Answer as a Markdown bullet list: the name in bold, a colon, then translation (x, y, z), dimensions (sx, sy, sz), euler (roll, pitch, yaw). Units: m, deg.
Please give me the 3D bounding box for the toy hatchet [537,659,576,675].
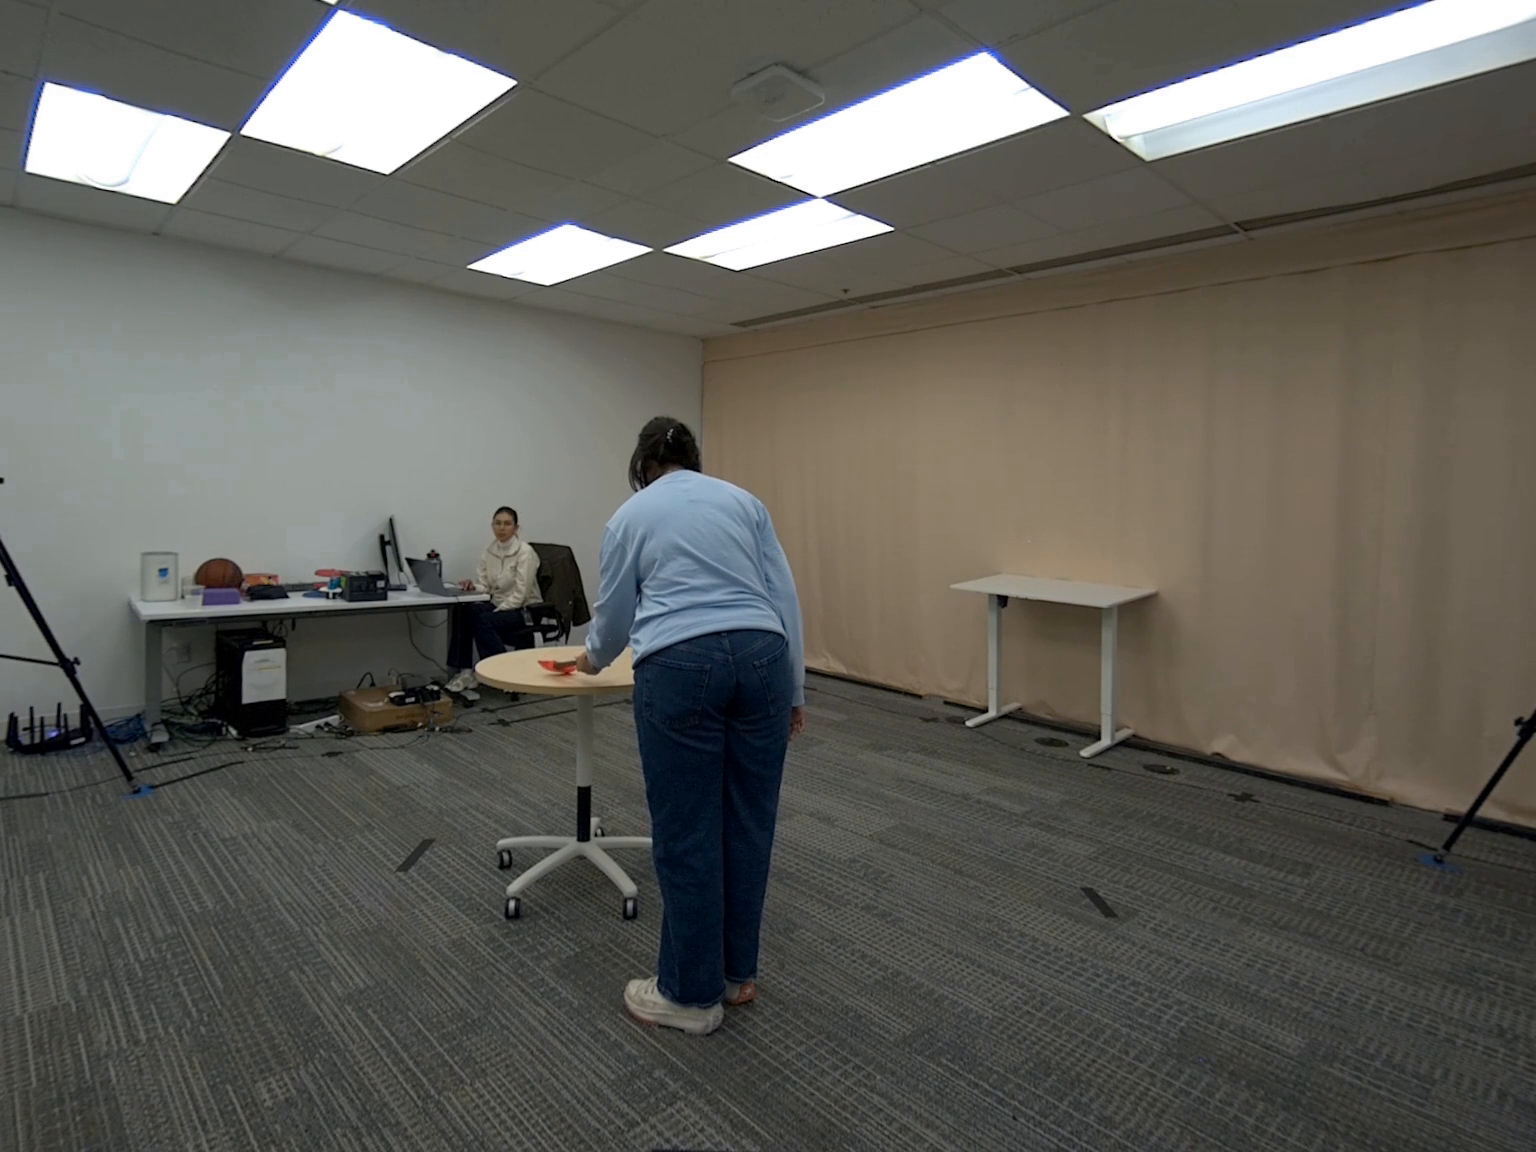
- **toy hatchet**: translation (-0.632, 0.304, 2.769), dimensions (0.274, 0.030, 0.127), euler (-2, -25, 23)
